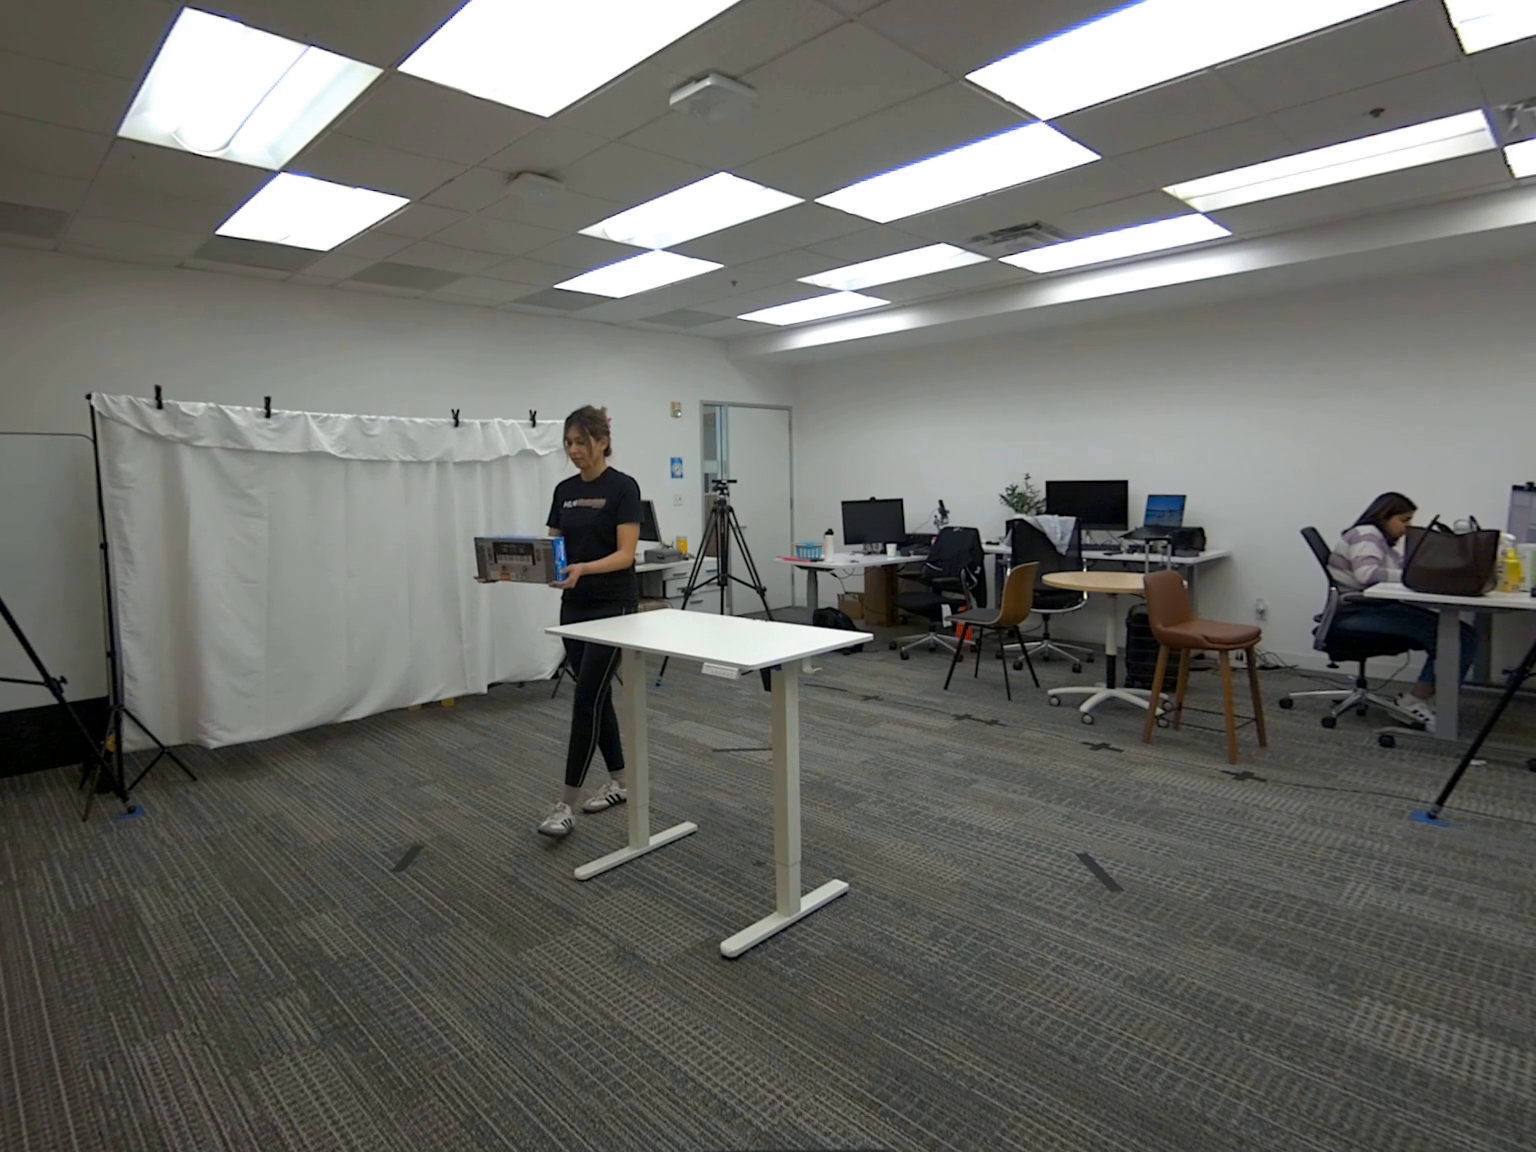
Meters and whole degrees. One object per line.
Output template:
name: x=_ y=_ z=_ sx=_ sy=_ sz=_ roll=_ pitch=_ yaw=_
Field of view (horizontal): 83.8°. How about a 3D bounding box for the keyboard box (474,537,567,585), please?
keyboard box: x=-0.964 y=-0.060 z=3.284 sx=0.449 sy=0.174 sz=0.058 roll=3 pitch=10 yaw=33
